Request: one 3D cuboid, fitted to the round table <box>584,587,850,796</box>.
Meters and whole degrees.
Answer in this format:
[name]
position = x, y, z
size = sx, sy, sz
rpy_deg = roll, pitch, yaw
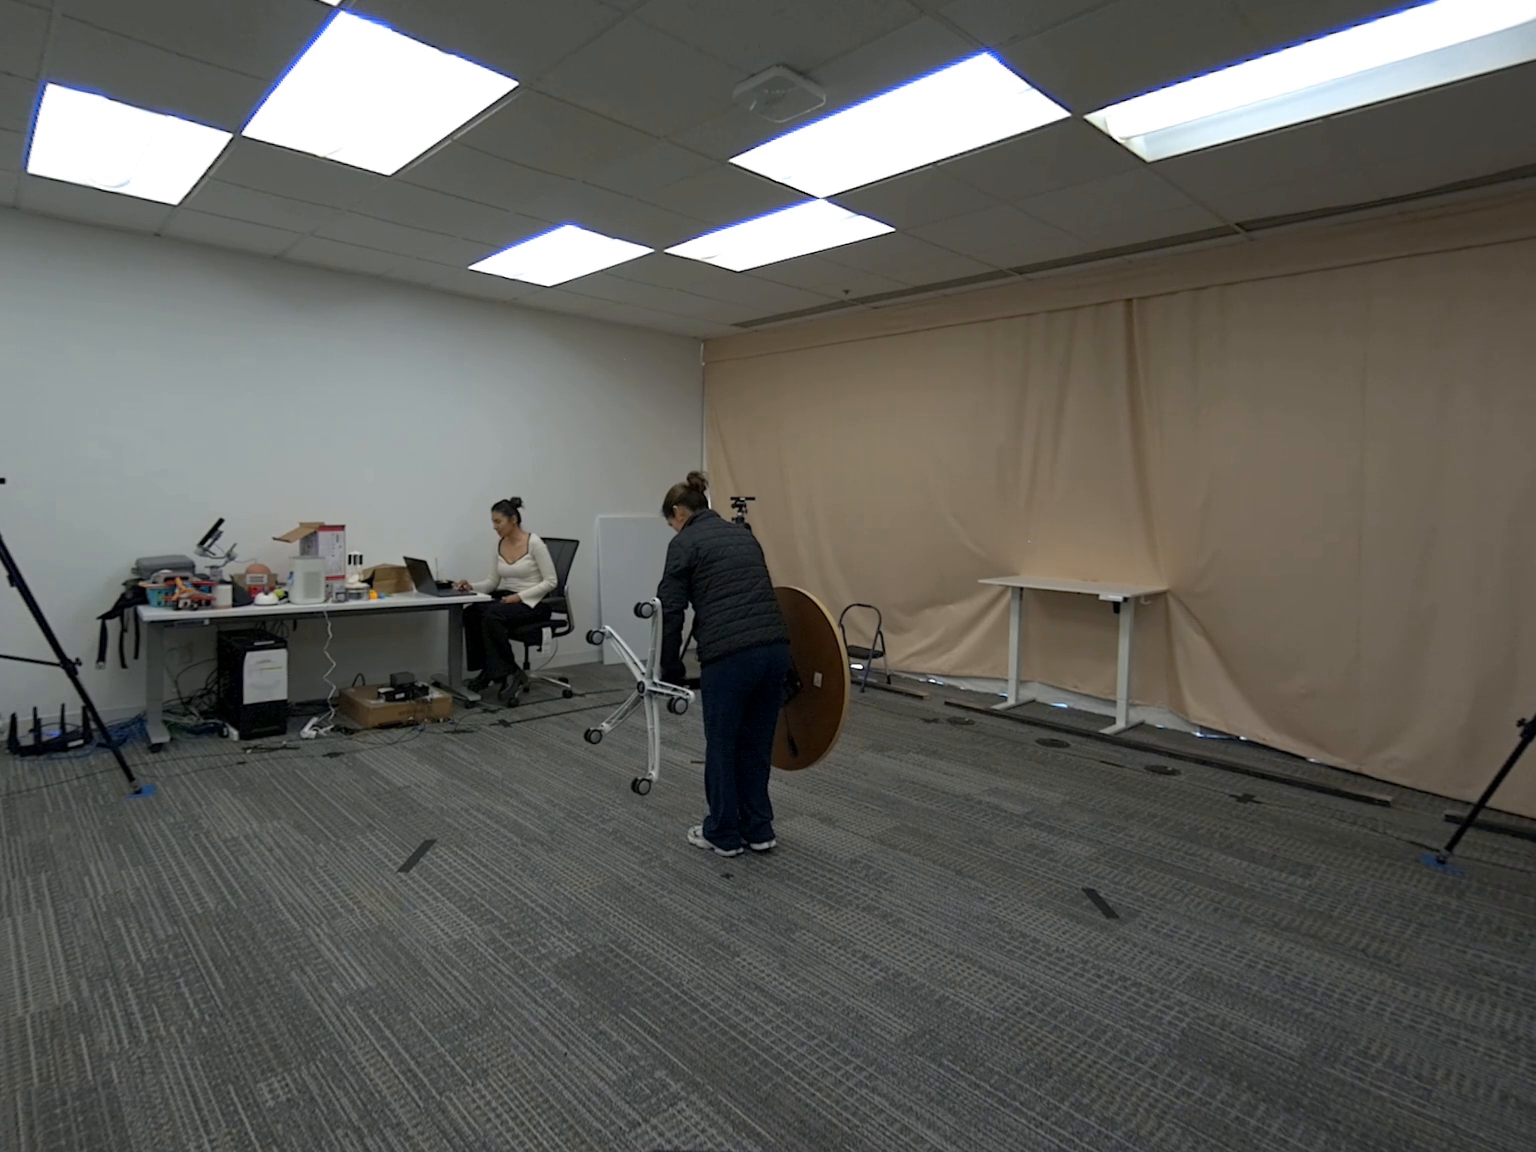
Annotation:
[round table]
position = -0.227, 0.441, 3.308
size = 0.768, 0.784, 0.805
rpy_deg = 0, 4, -39
